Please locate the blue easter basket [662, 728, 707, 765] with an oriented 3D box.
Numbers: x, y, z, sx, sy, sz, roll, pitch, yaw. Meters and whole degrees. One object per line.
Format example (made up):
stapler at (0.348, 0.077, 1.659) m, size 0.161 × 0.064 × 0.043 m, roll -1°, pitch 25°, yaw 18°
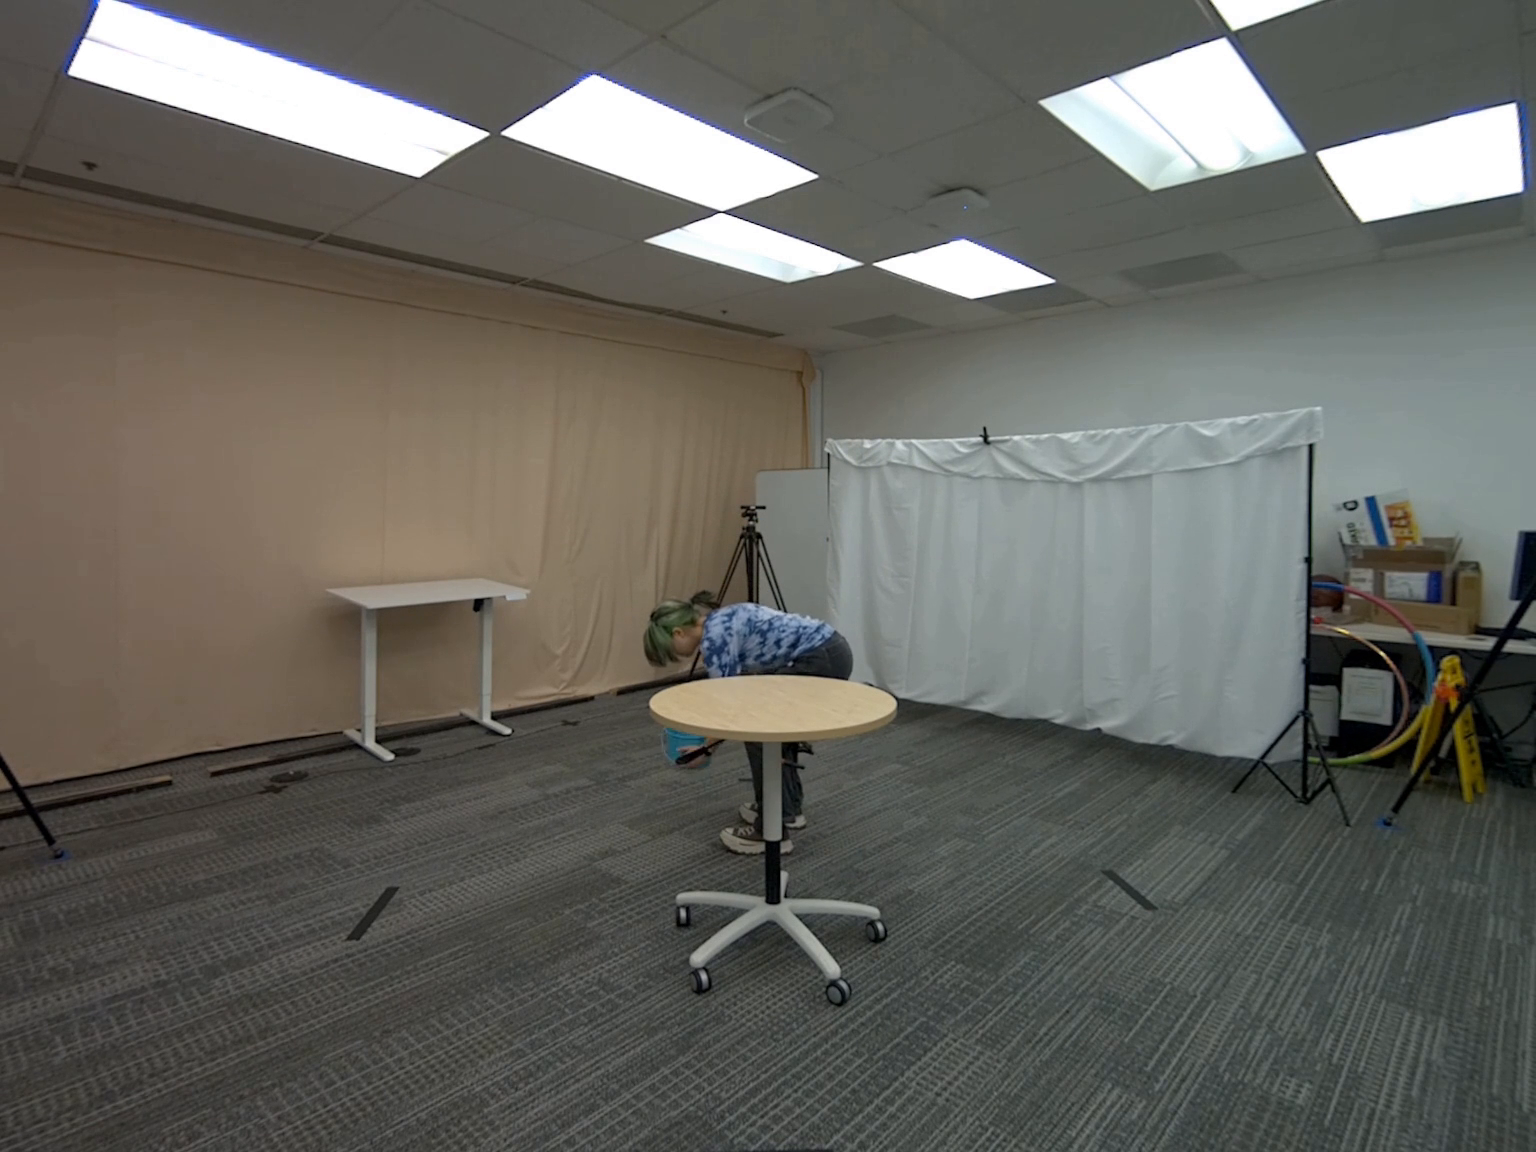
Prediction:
blue easter basket at (-0.344, 0.729, 3.637) m, size 0.243 × 0.155 × 0.245 m, roll 2°, pitch 7°, yaw -2°
